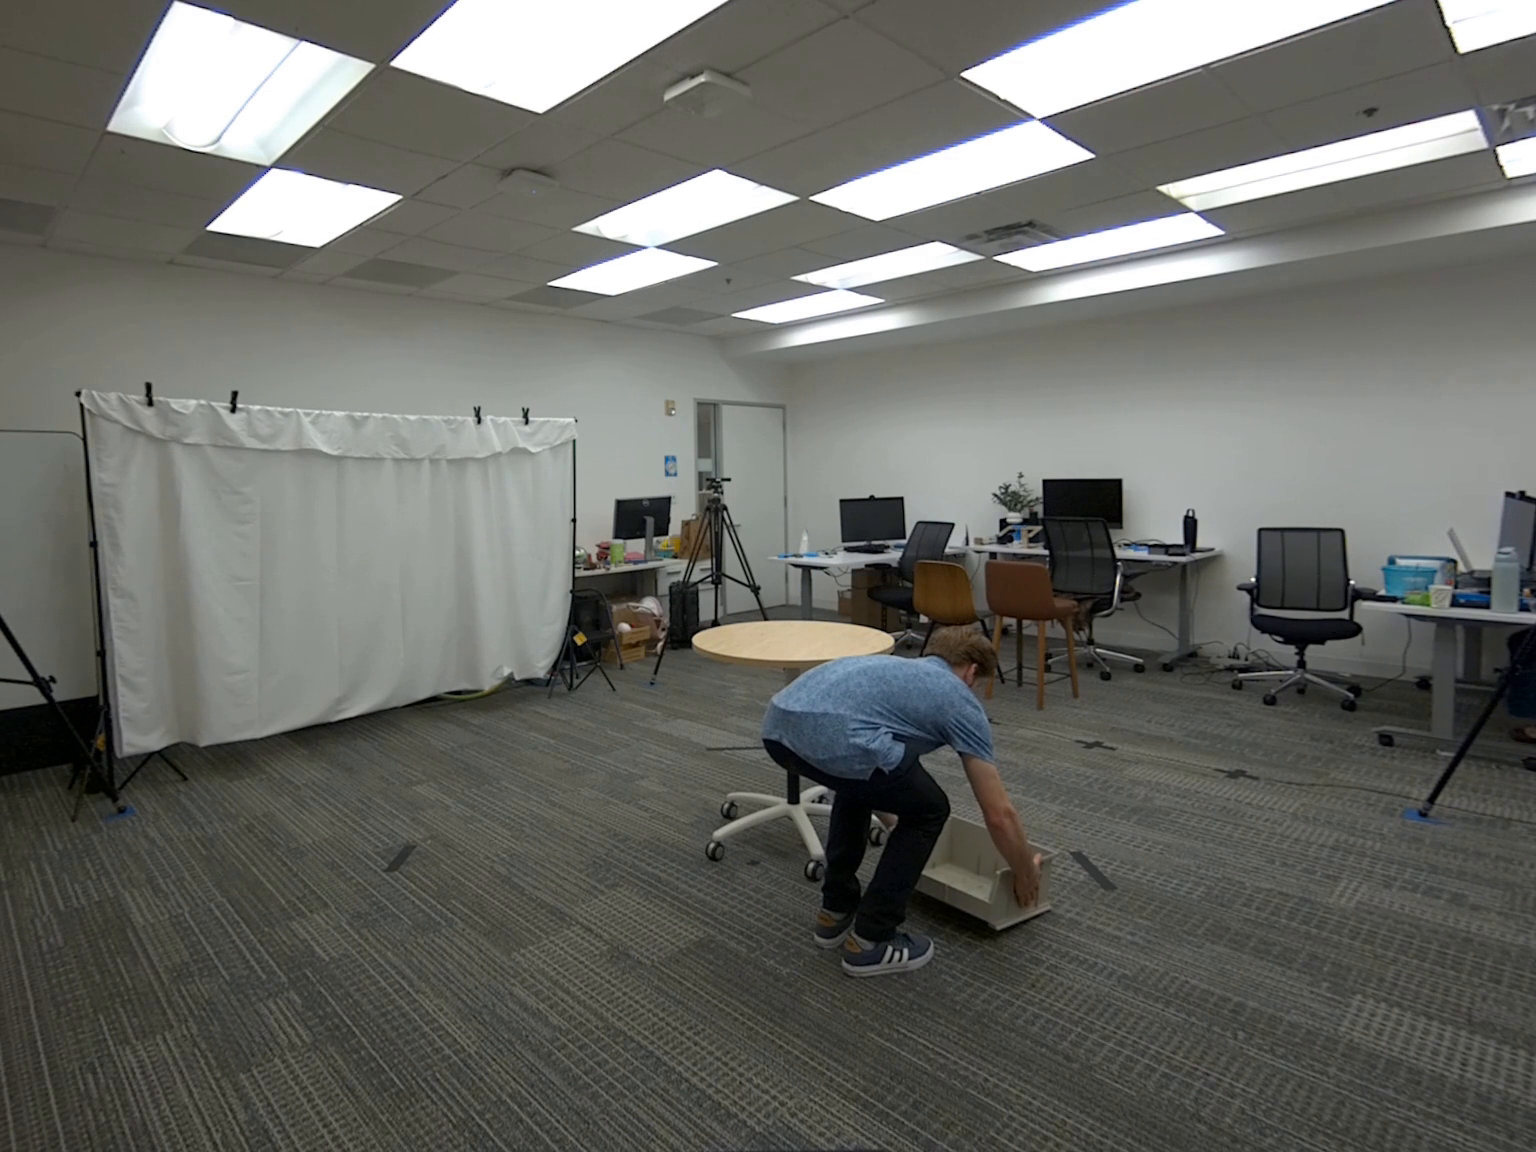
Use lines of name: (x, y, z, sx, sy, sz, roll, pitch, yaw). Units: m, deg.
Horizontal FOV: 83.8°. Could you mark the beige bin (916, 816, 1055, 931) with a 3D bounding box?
beige bin: (0.657, 0.956, 2.780, 0.366, 0.189, 0.436, 4, 2, -42)
